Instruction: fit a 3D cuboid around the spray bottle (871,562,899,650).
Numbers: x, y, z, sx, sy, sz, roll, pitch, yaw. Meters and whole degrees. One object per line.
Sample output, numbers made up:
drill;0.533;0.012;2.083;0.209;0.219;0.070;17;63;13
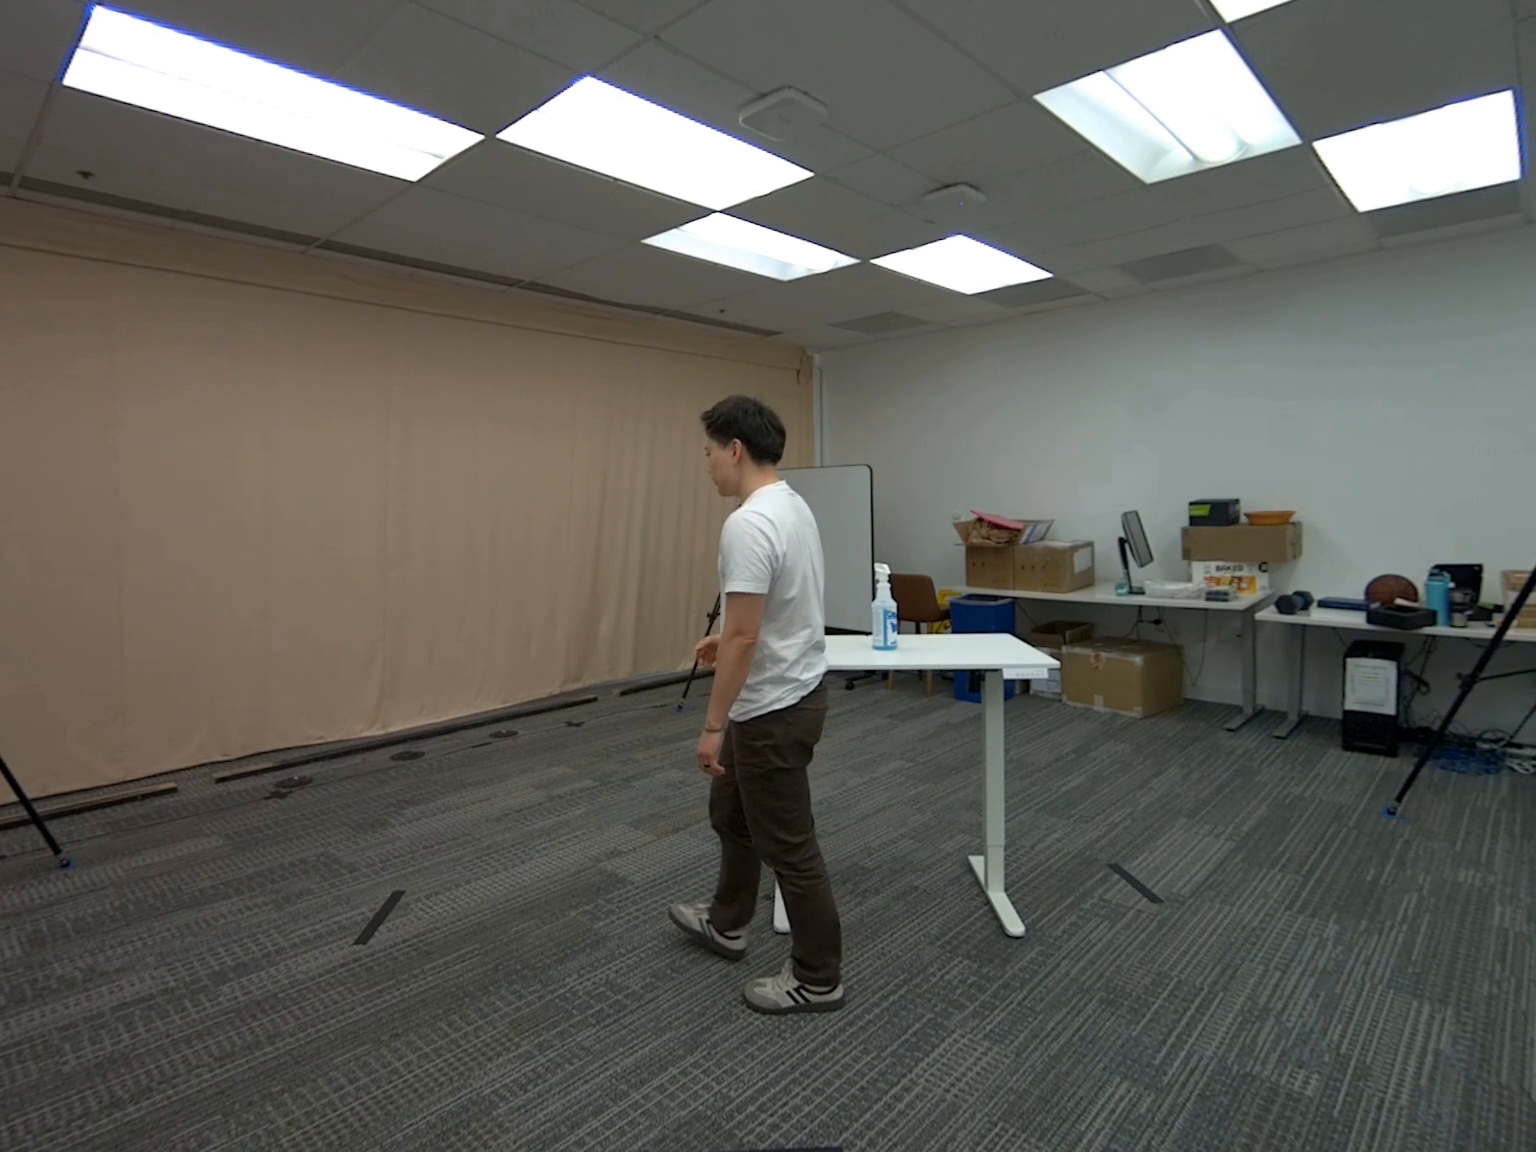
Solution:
spray bottle;0.411;0.106;2.937;0.087;0.297;0.089;-1;3;5
